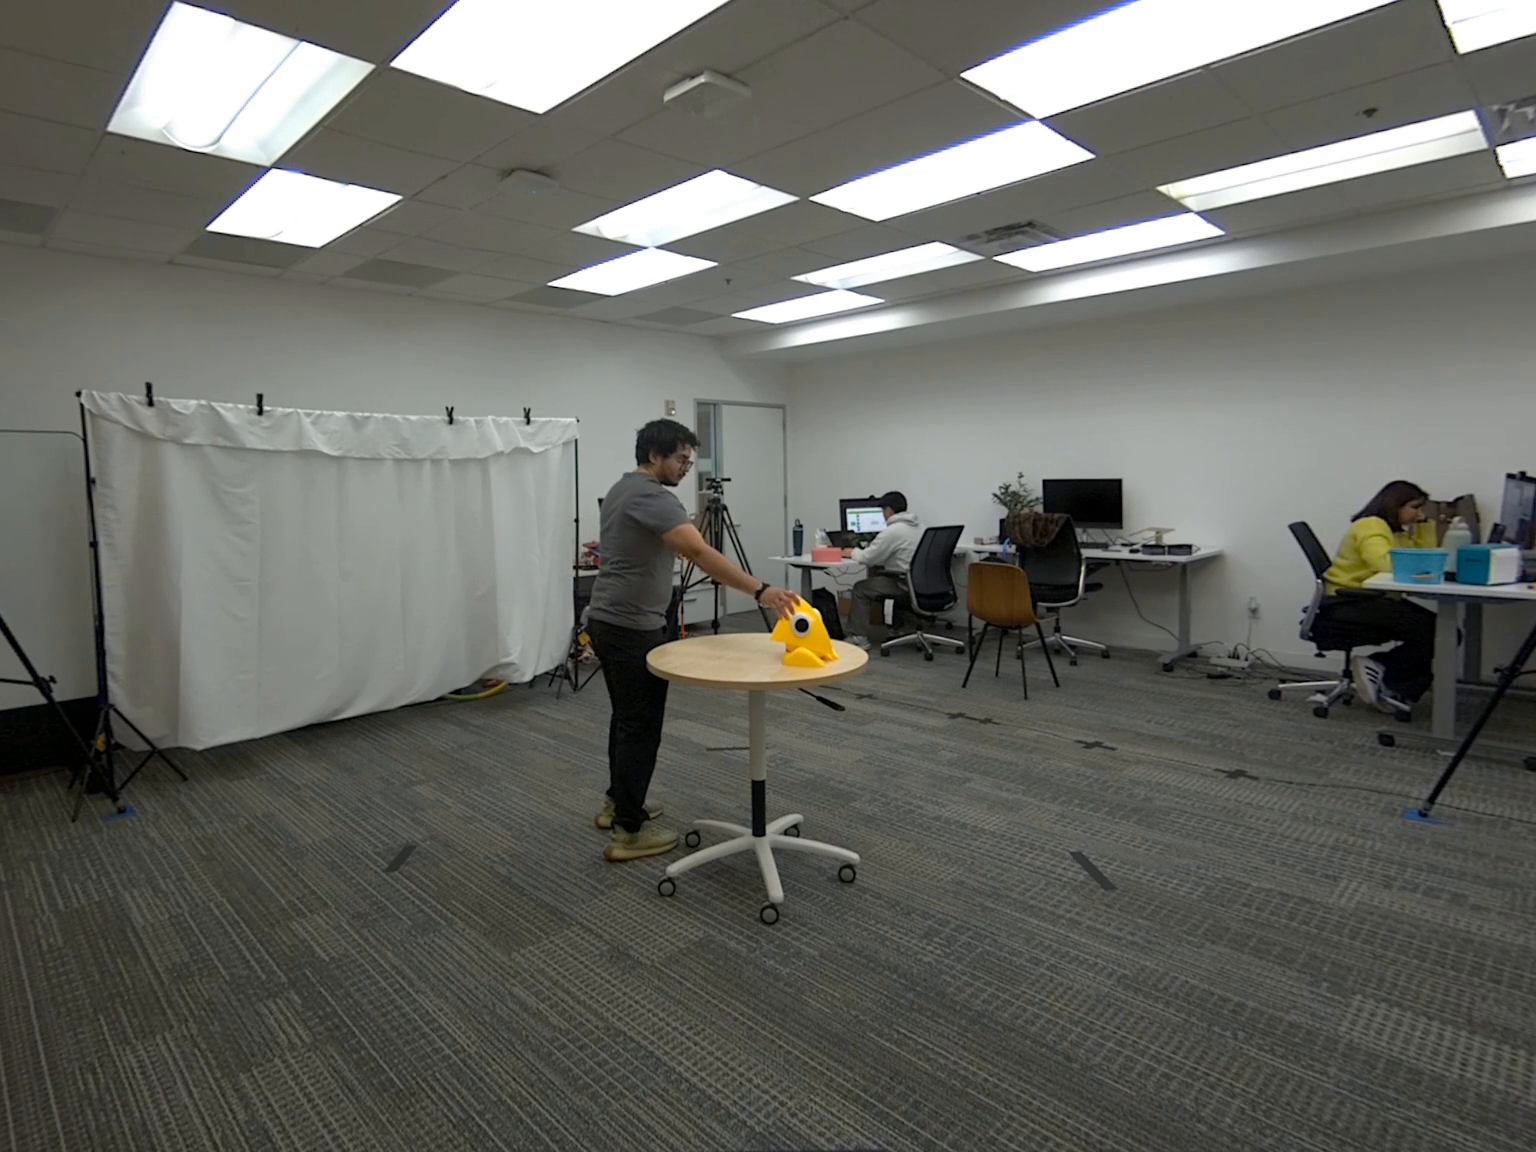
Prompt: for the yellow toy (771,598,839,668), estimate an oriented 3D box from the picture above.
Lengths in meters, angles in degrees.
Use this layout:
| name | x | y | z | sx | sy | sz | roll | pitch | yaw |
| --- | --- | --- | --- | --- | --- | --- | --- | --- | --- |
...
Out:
| name | x | y | z | sx | sy | sz | roll | pitch | yaw |
| --- | --- | --- | --- | --- | --- | --- | --- | --- | --- |
| yellow toy | 0.132 | 0.169 | 2.869 | 0.198 | 0.230 | 0.200 | 1 | 5 | 30 |
